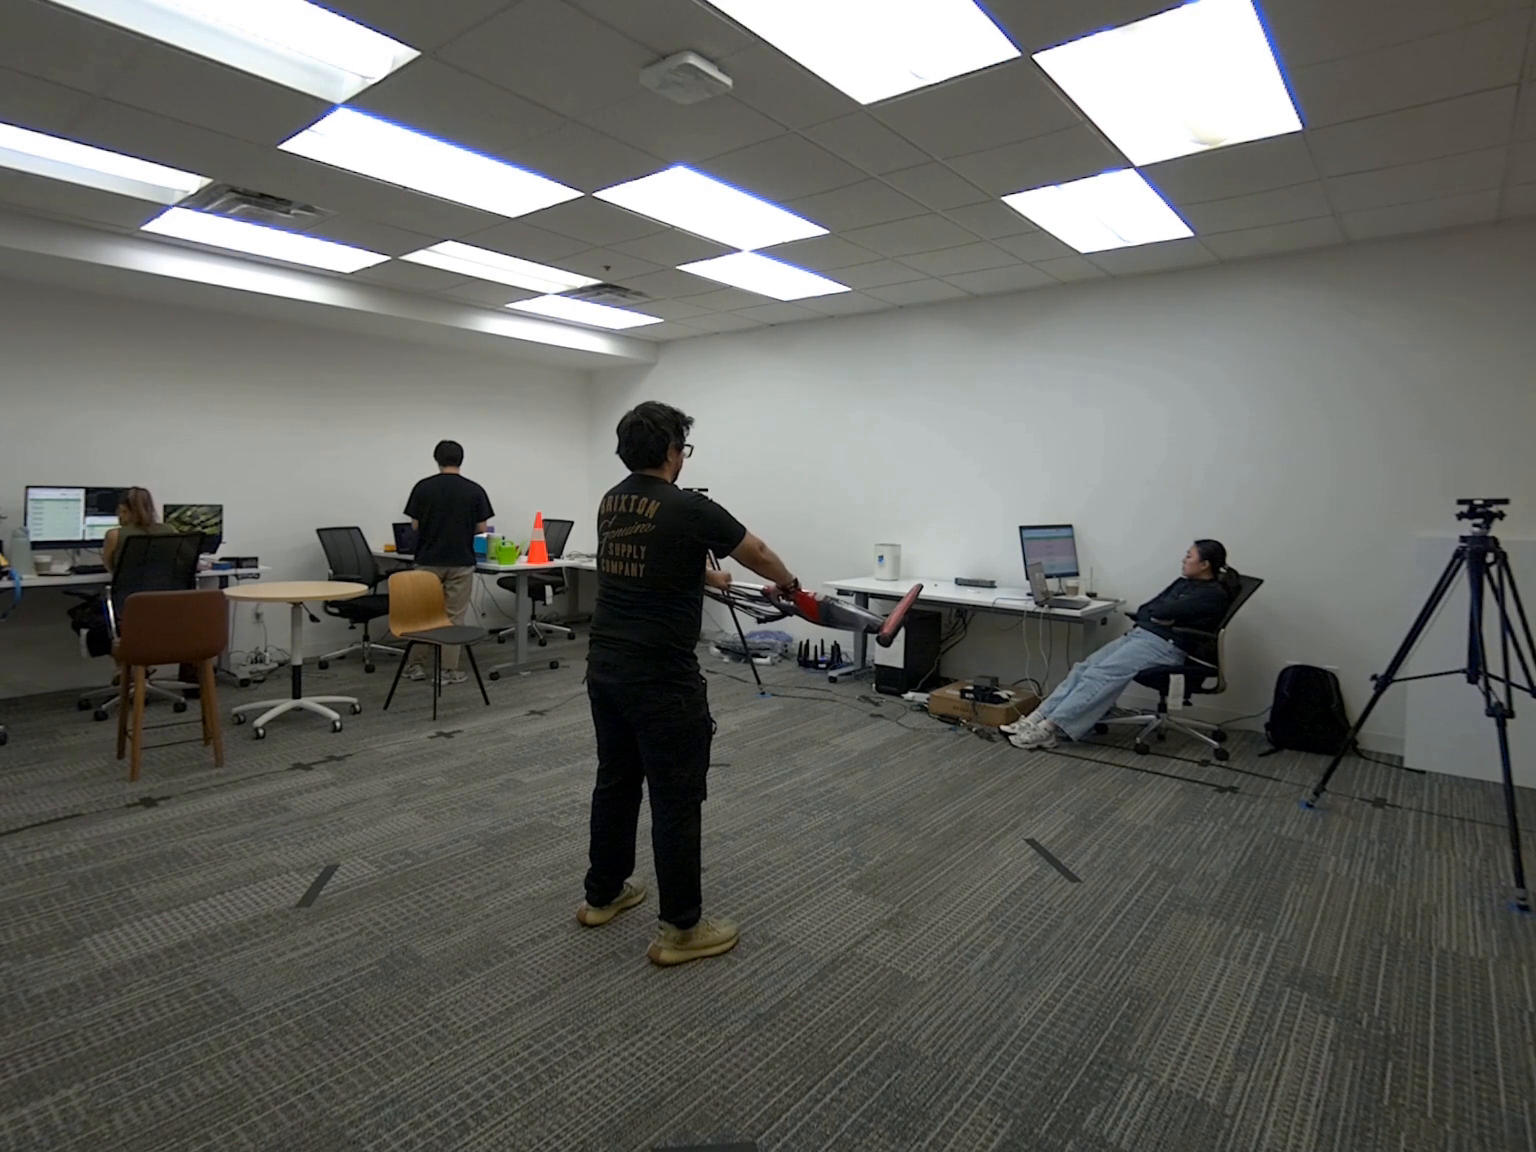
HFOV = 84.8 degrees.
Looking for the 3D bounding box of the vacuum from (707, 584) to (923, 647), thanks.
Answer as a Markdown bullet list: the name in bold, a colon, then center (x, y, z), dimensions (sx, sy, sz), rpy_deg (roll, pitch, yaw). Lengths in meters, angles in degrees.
- **vacuum**: center (-0.007, 0.079, 3.006), dimensions (1.086, 0.139, 0.252), rpy_deg (8, 43, 39)
